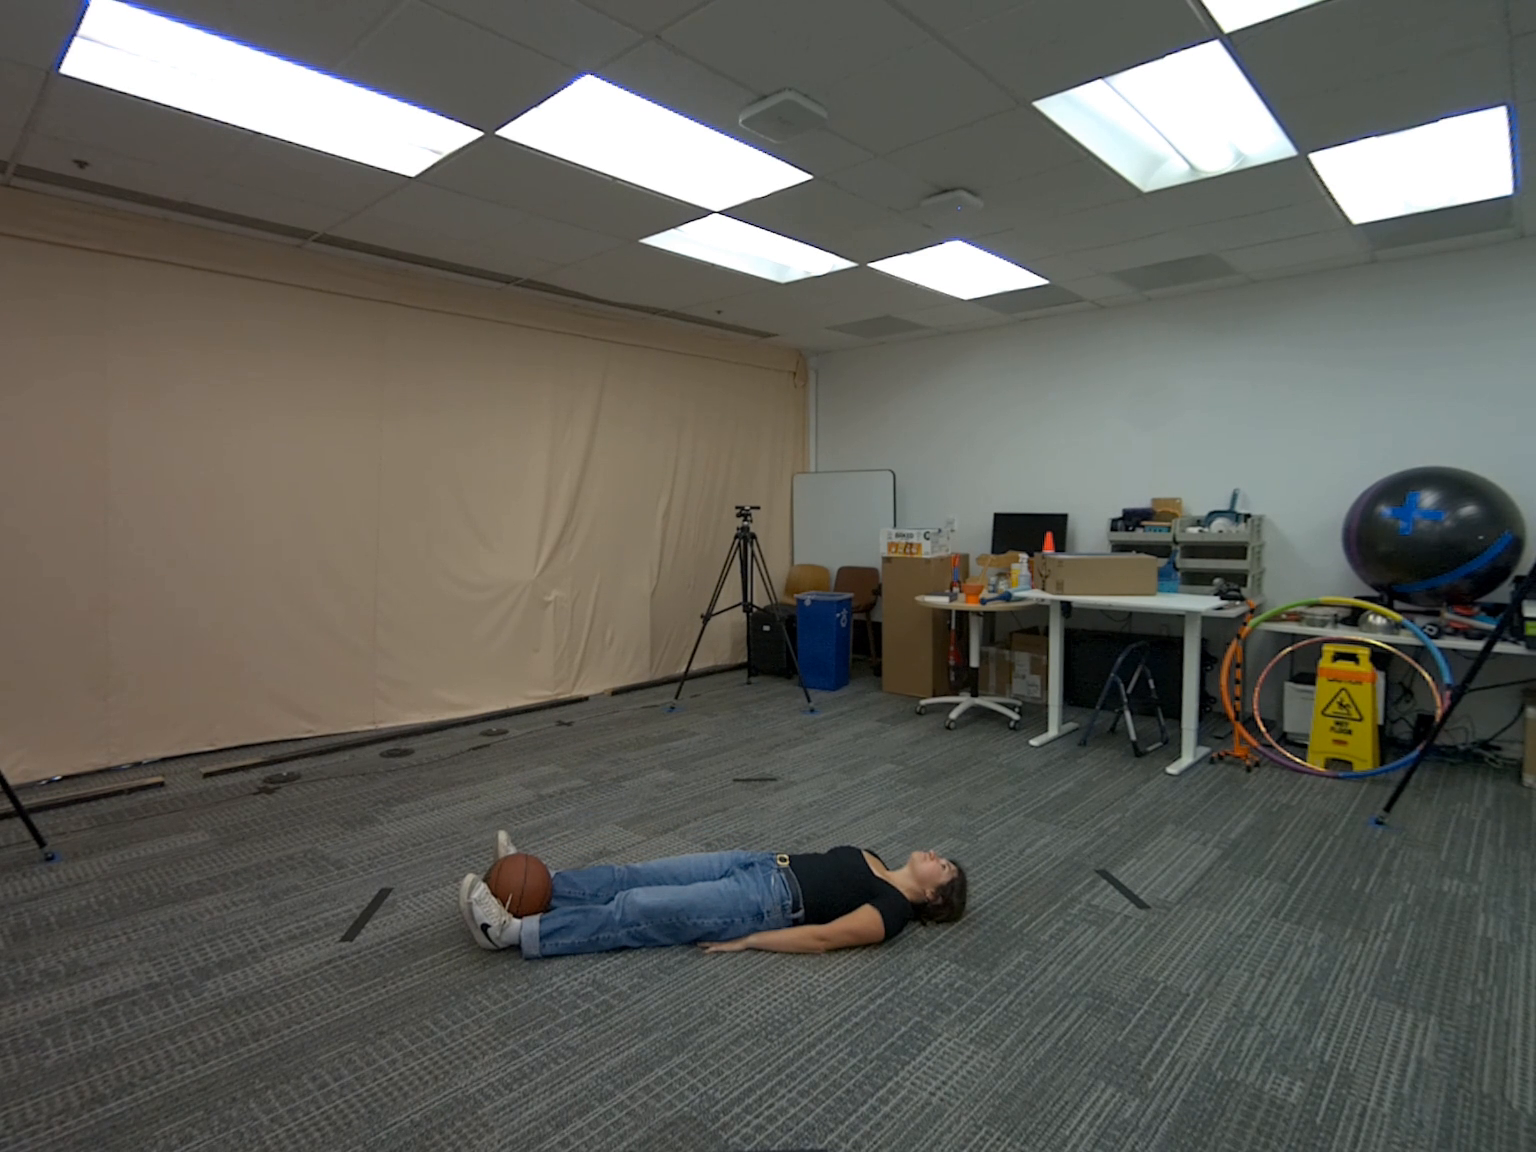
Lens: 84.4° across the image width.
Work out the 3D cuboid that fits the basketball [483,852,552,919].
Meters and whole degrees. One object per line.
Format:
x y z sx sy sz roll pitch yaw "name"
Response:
-0.832 1.045 2.789 0.236 0.235 0.237 0 4 -2 "basketball"
